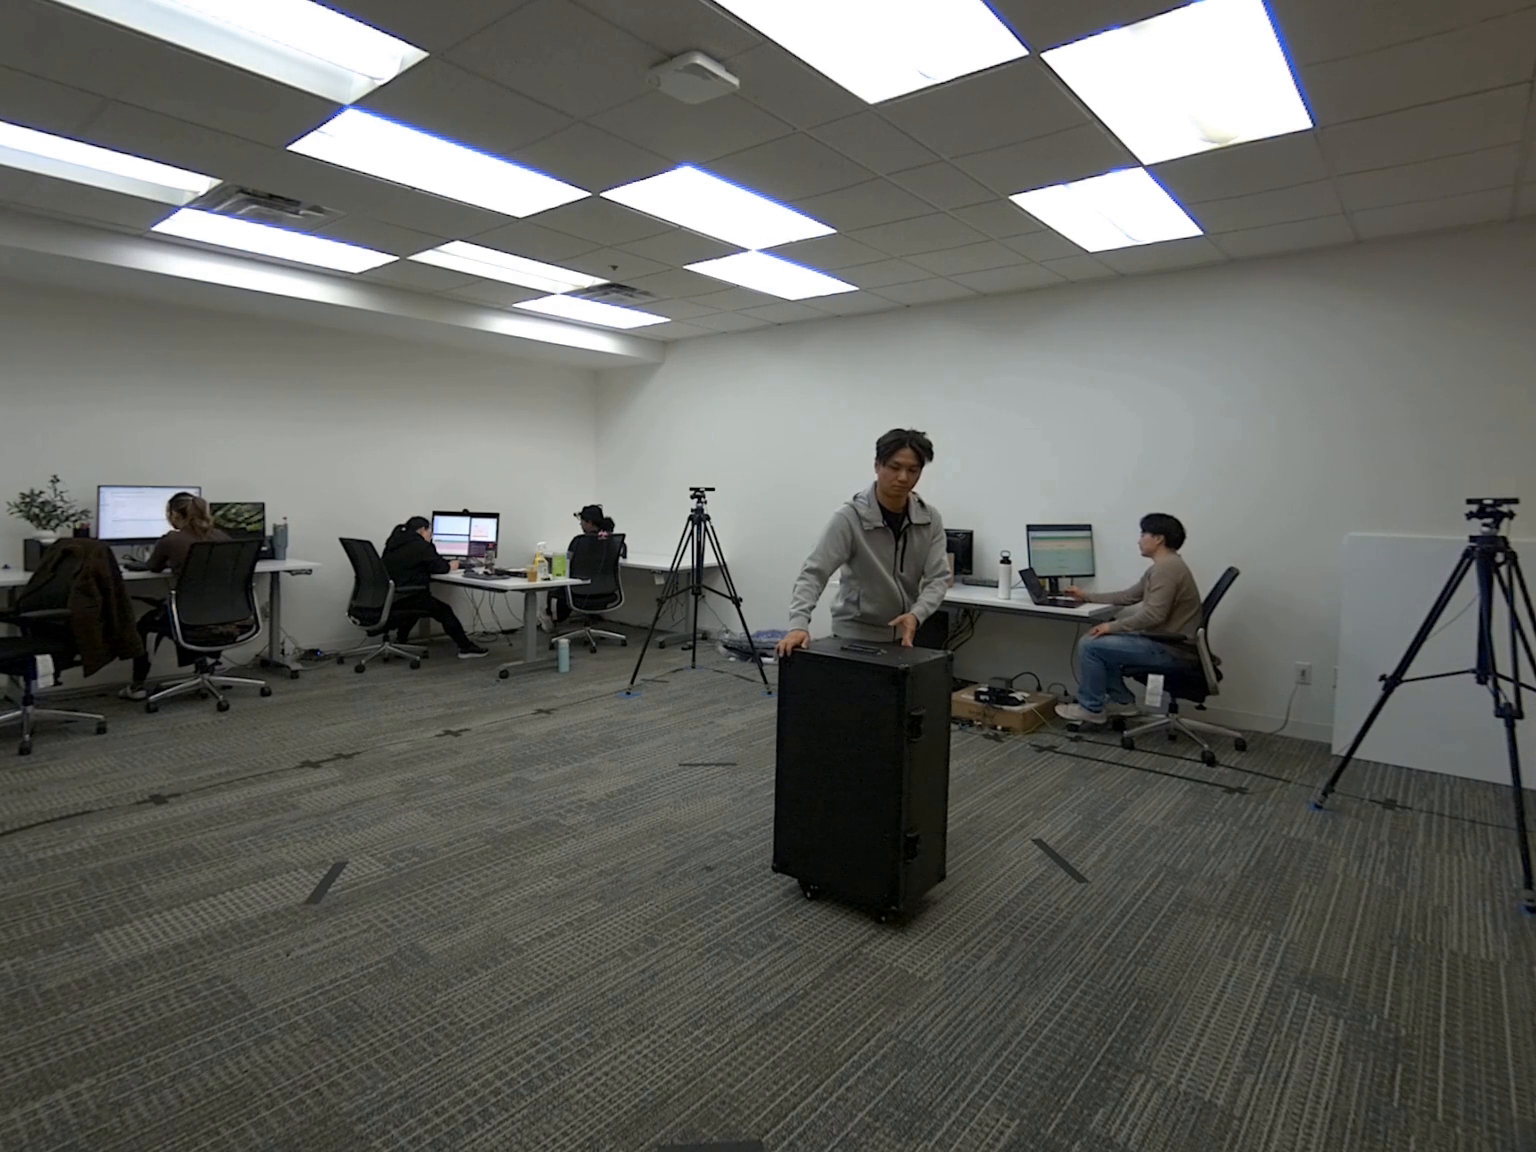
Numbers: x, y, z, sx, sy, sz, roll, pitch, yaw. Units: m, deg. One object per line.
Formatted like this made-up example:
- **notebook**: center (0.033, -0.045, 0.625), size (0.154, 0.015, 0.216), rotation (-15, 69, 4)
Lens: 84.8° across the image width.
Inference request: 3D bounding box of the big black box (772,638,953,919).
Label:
- **big black box**: center (0.316, 0.672, 2.921), size (0.538, 0.860, 0.384), rotation (3, 2, 37)
